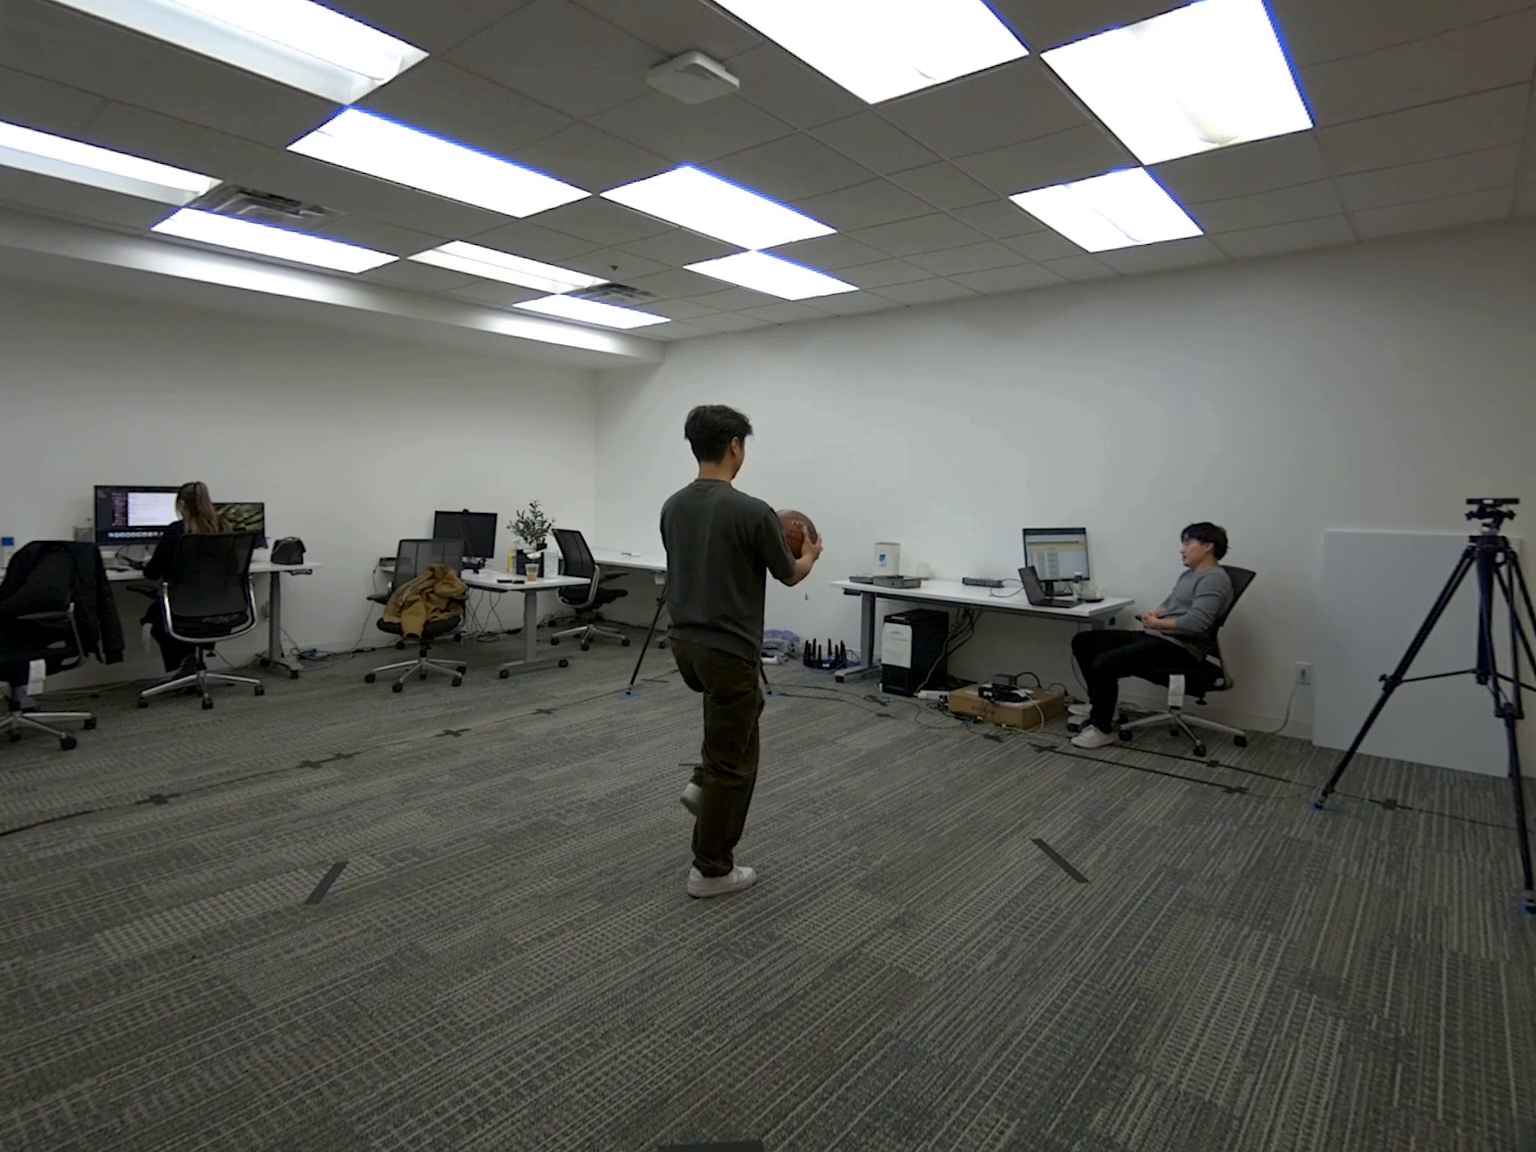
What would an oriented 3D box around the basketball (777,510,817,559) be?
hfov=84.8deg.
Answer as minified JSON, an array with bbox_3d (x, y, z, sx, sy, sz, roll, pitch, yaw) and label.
[{"bbox_3d":[0.065,-0.135,3.263,0.235,0.235,0.237,1,4,-2],"label":"basketball"}]
